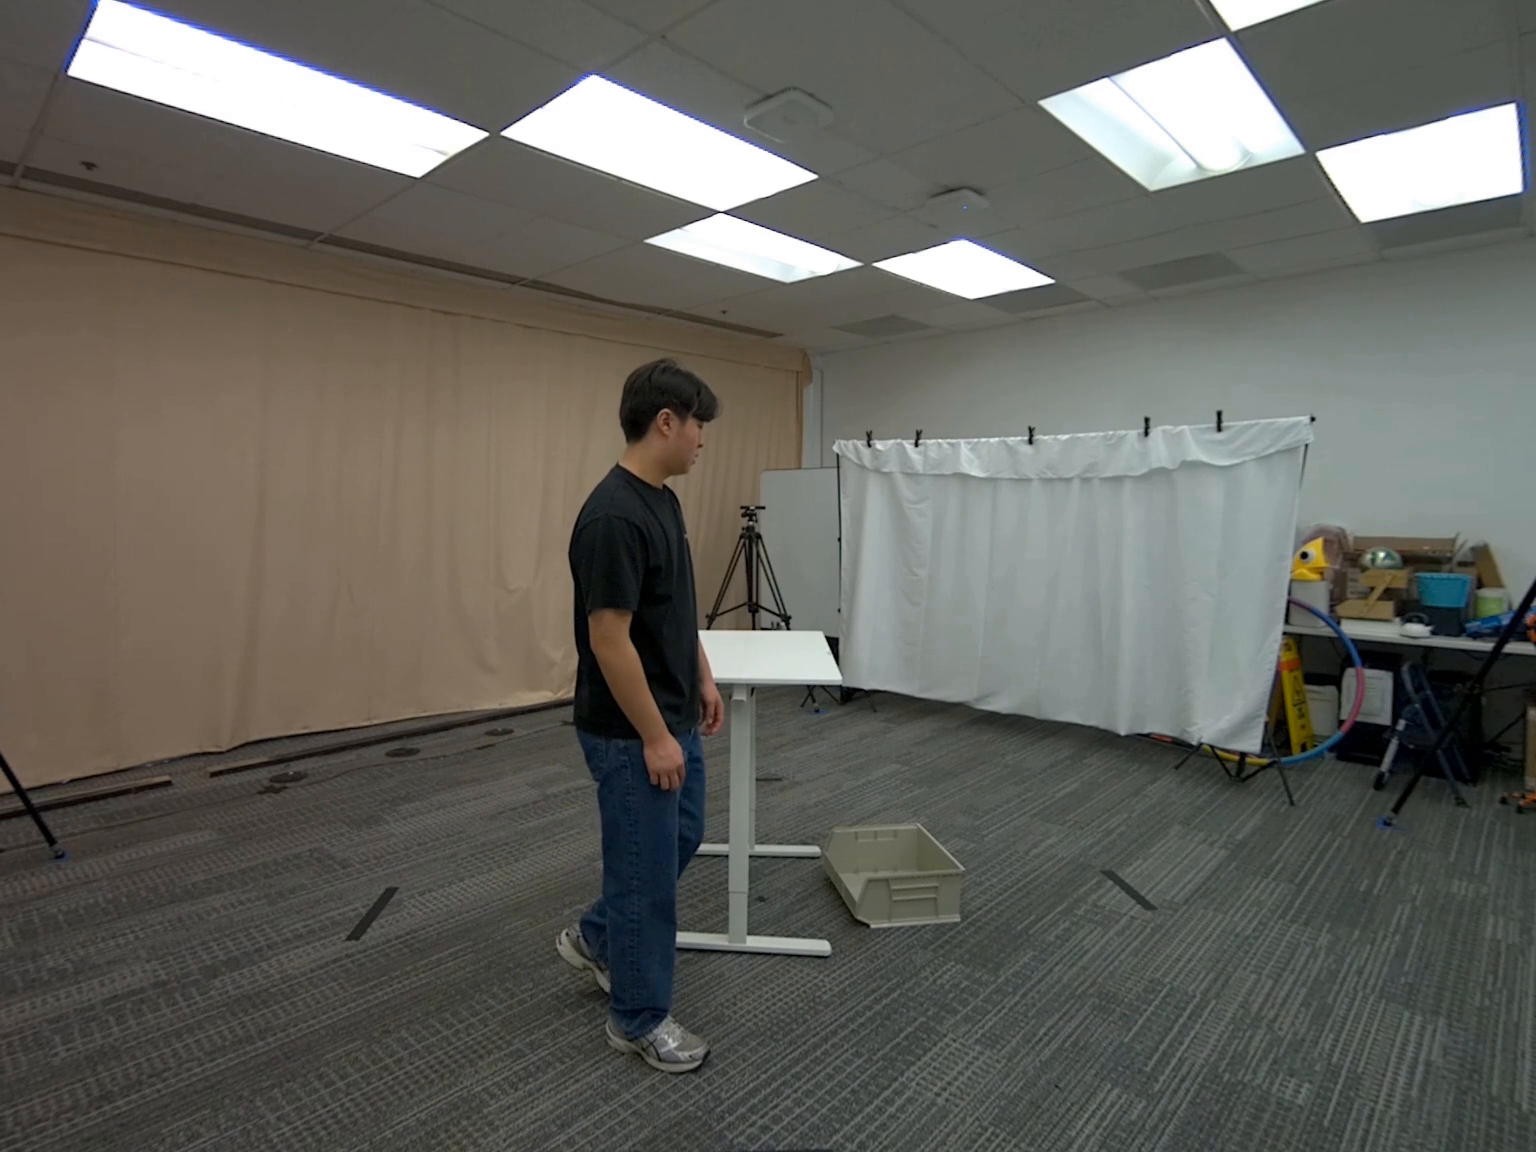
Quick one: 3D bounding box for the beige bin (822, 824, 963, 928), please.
[{"bbox_3d":[0.437,1.054,2.985,0.373,0.188,0.427,0,4,-10],"label":"beige bin"}]
